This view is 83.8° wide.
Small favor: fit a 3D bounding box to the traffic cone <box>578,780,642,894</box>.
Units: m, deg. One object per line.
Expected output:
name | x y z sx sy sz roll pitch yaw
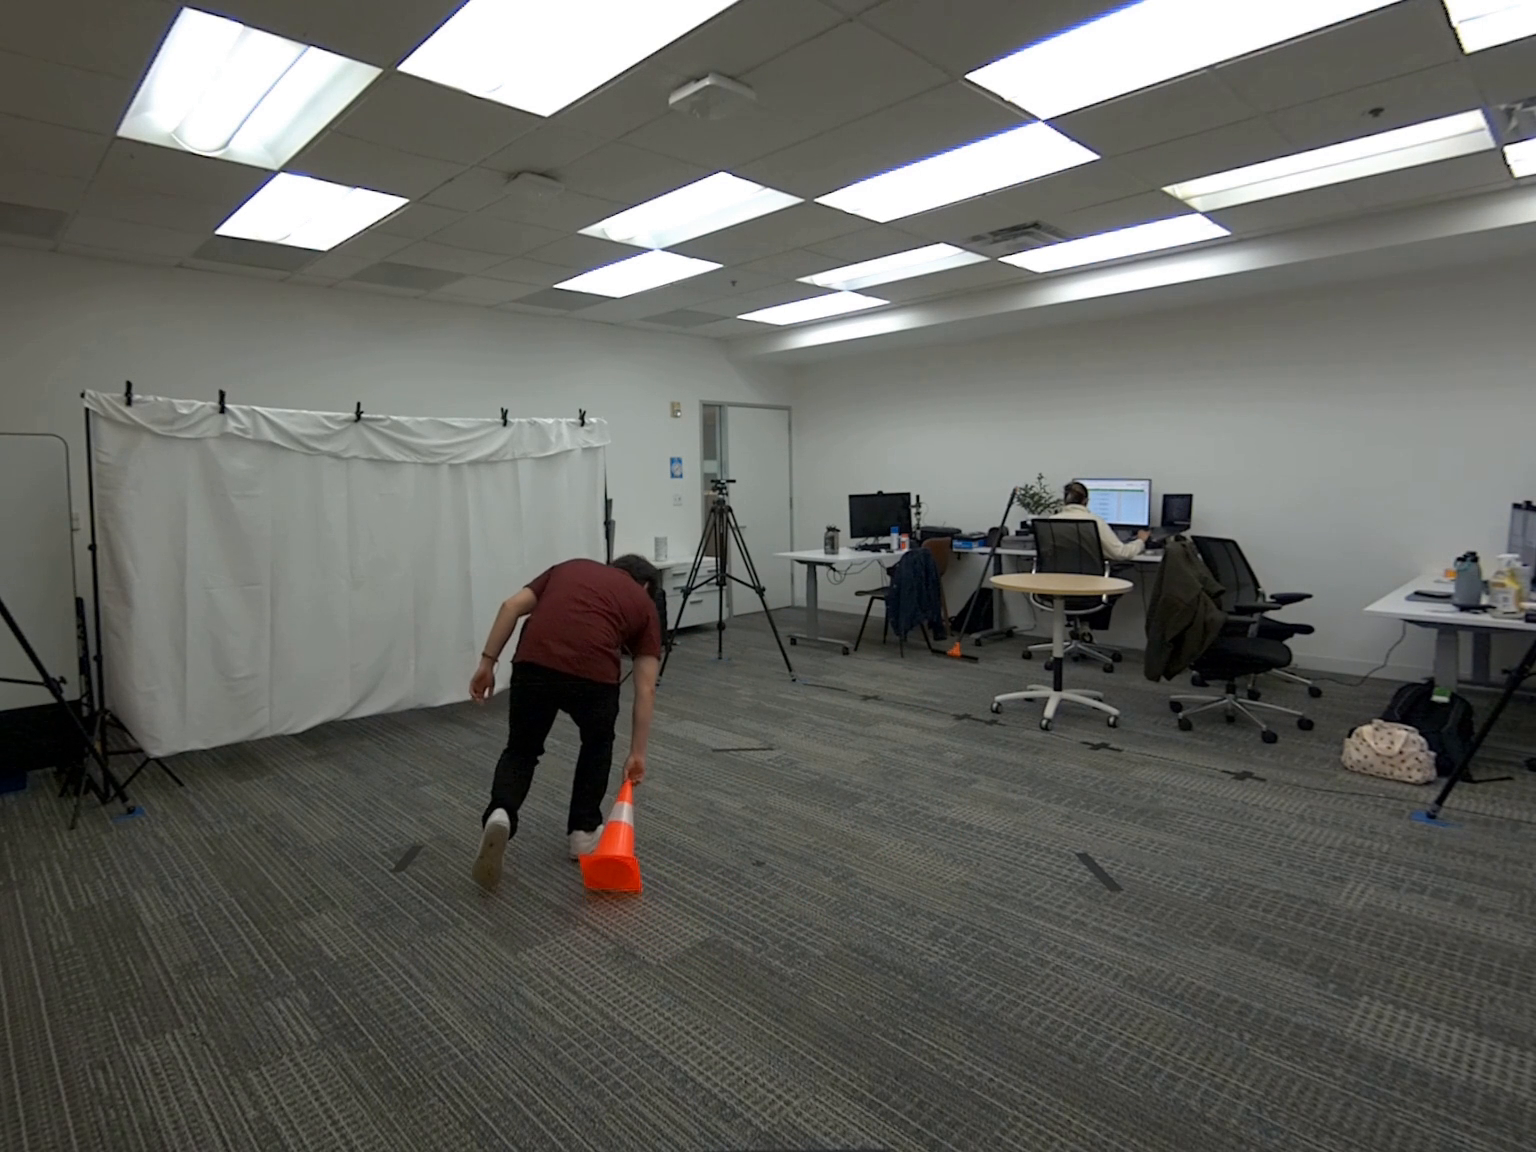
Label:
traffic cone | -0.526 0.884 3.020 0.206 0.197 0.393 -6 35 5
